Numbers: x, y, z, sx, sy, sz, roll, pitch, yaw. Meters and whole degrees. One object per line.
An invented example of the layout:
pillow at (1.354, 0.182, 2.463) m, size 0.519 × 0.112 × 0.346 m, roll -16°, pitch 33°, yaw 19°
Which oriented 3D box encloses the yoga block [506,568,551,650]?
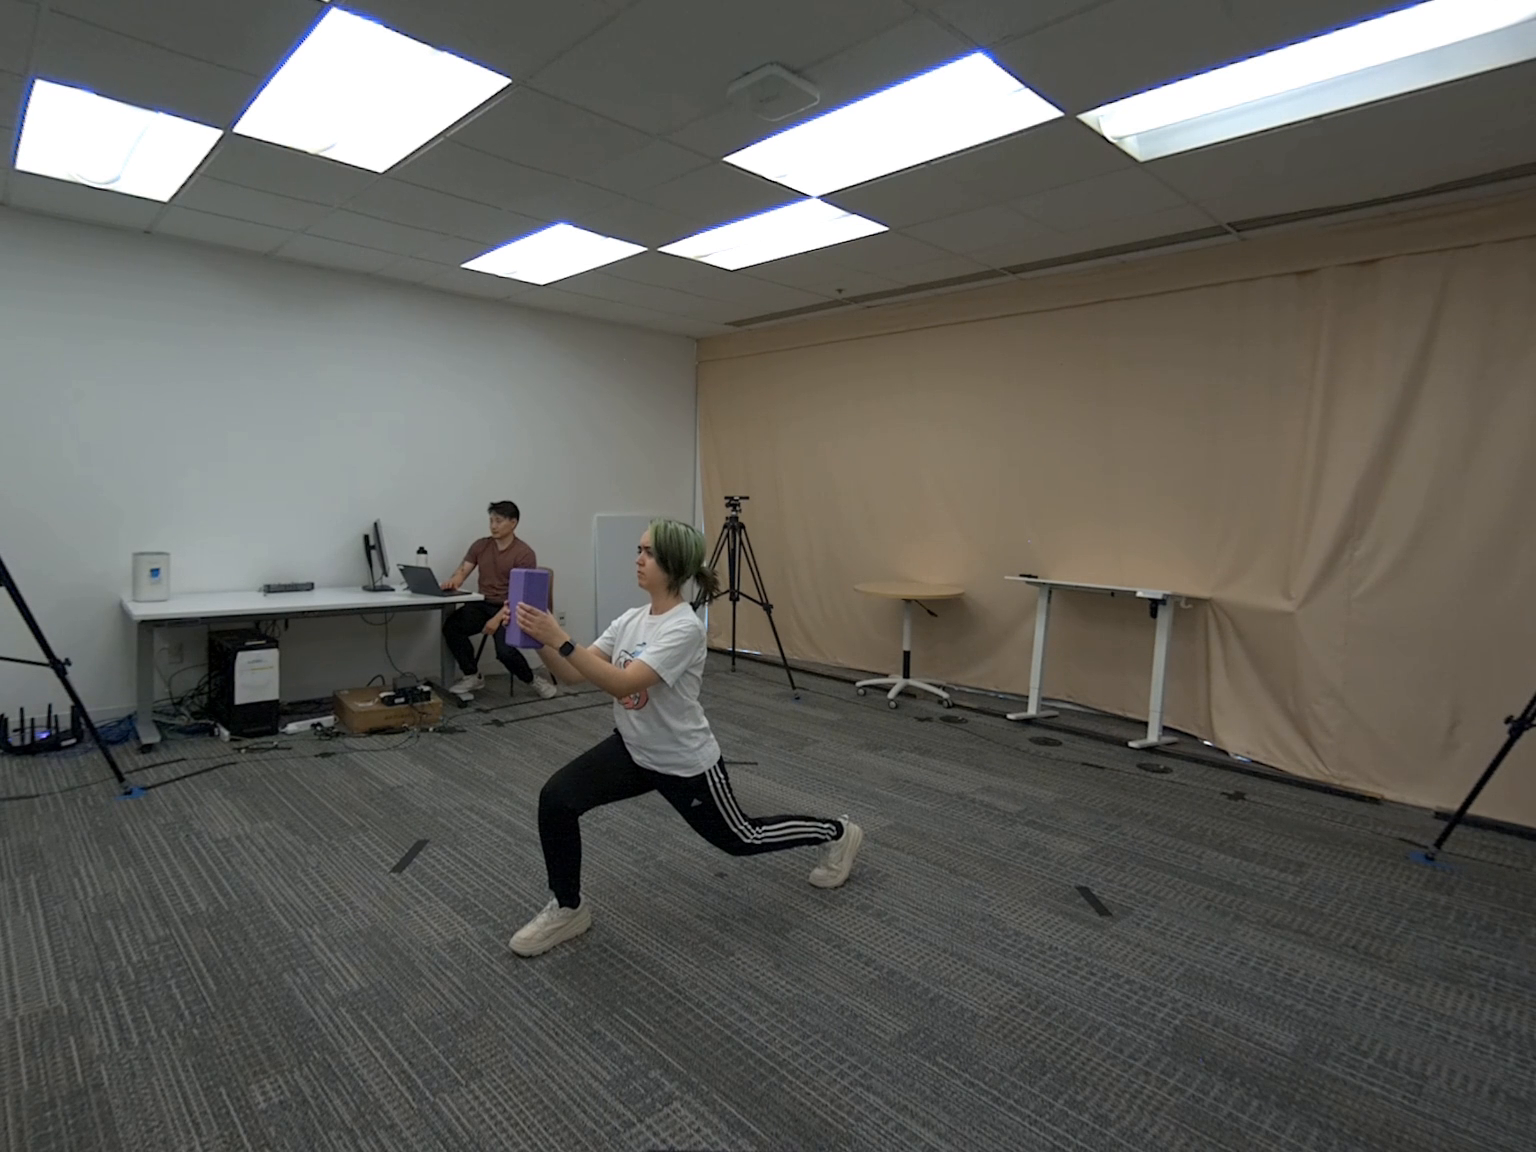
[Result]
yoga block at (-0.723, 0.094, 2.491) m, size 0.075 × 0.230 × 0.152 m, roll 5°, pitch -4°, yaw -32°
